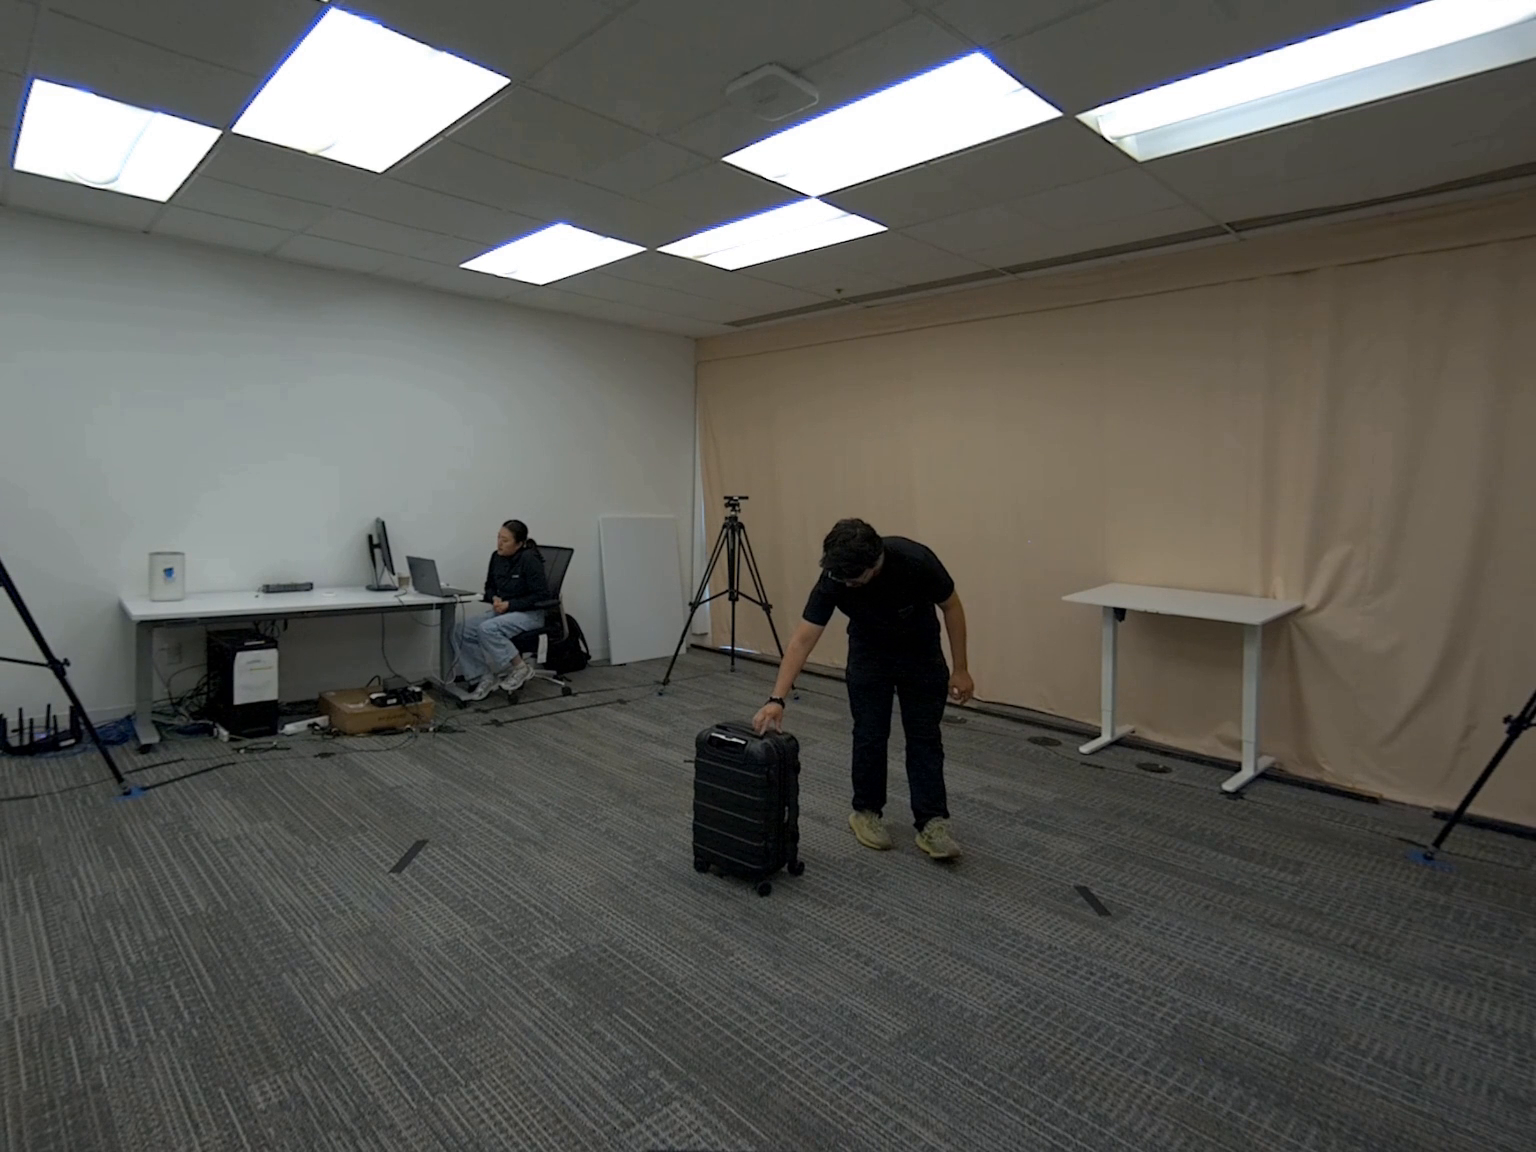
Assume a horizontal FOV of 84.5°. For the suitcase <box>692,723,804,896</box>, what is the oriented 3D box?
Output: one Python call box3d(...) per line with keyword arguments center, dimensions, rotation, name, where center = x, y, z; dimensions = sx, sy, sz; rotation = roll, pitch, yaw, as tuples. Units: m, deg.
box3d(center=(-0.085, 0.829, 3.115), dimensions=(0.384, 0.548, 0.243), rotation=(3, 5, 40), name="suitcase")
